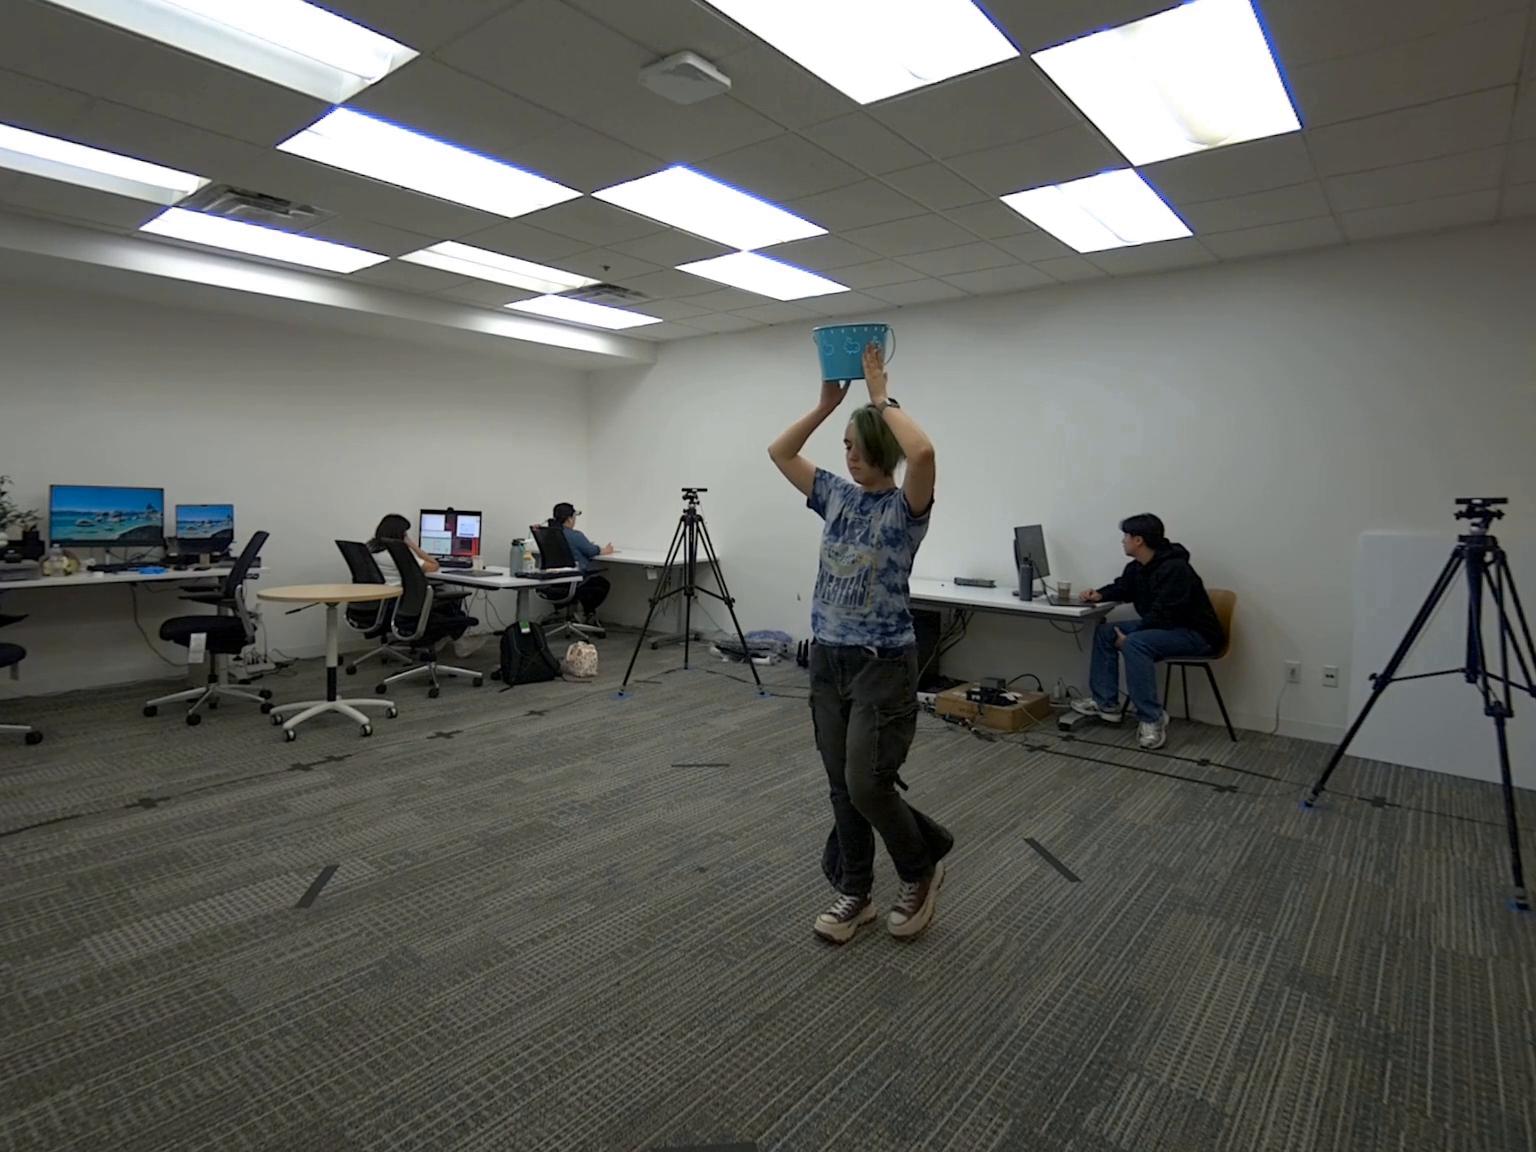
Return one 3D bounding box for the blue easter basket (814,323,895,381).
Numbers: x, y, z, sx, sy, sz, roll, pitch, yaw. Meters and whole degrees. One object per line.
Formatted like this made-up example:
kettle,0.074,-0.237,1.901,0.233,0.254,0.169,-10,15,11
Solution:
blue easter basket,0.258,-0.668,2.550,0.243,0.154,0.246,-3,12,-1
